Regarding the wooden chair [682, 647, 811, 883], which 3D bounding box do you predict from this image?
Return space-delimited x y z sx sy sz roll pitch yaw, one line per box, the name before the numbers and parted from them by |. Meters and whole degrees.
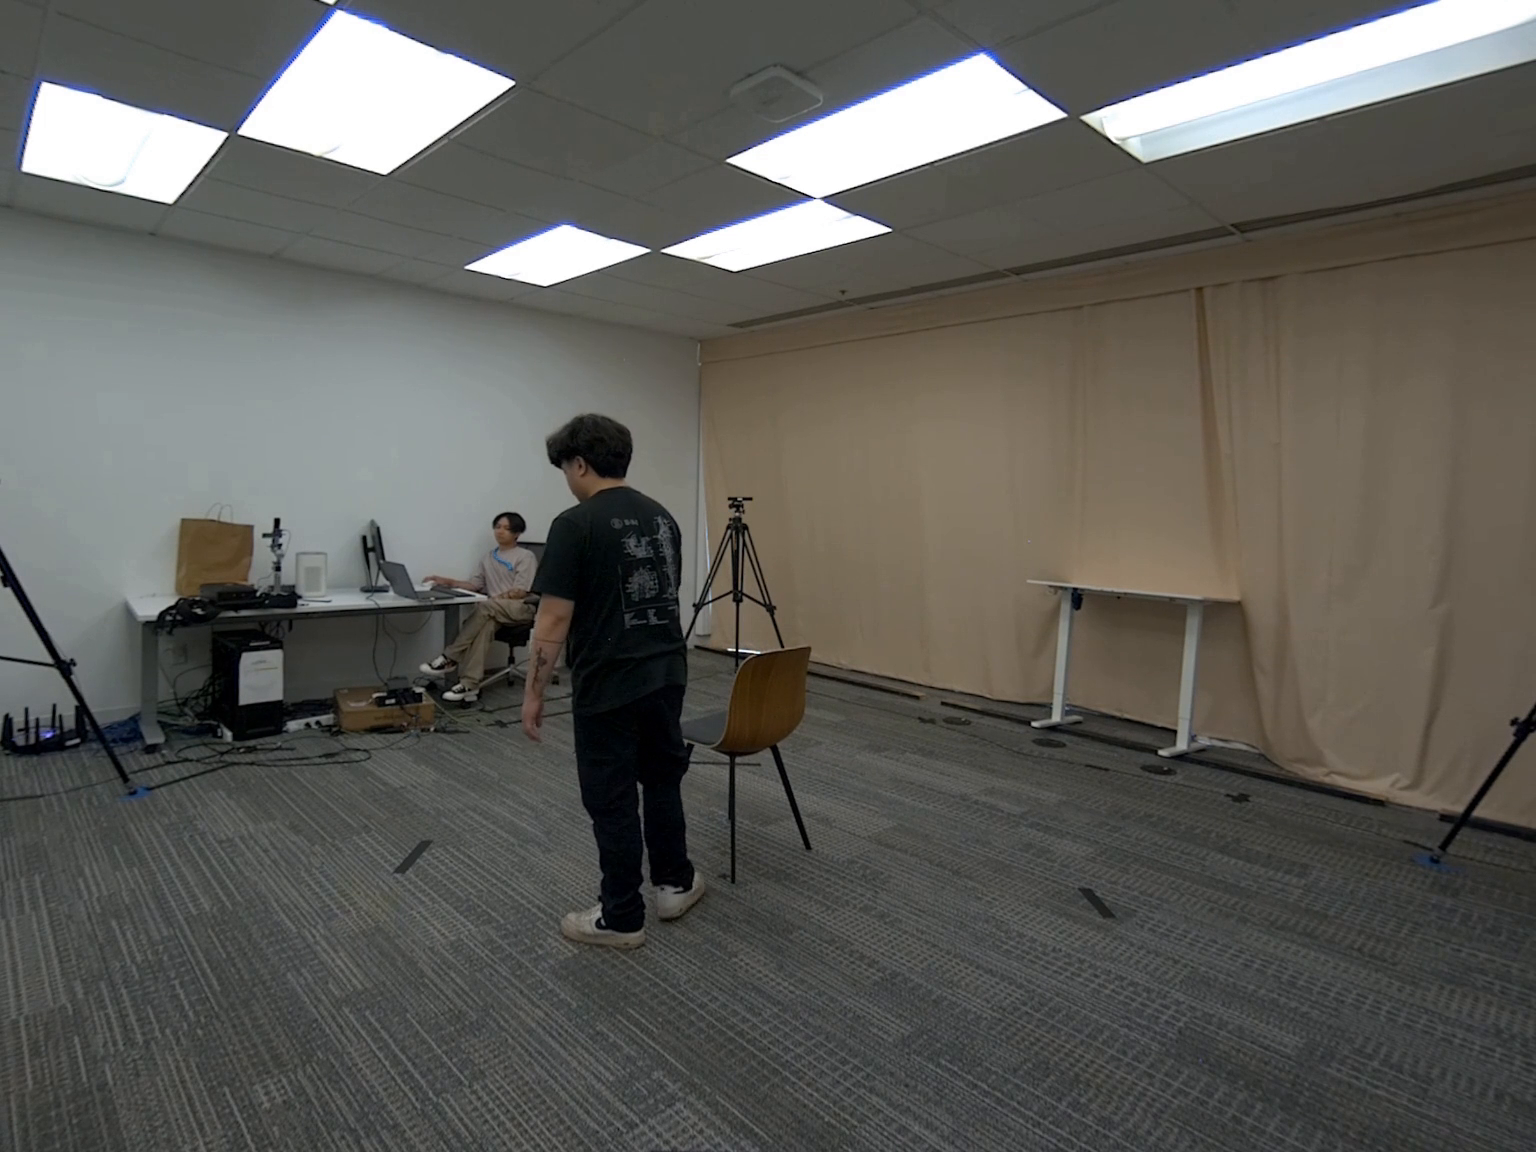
wooden chair | -0.144 0.660 3.329 0.537 0.873 0.467 10 9 42
